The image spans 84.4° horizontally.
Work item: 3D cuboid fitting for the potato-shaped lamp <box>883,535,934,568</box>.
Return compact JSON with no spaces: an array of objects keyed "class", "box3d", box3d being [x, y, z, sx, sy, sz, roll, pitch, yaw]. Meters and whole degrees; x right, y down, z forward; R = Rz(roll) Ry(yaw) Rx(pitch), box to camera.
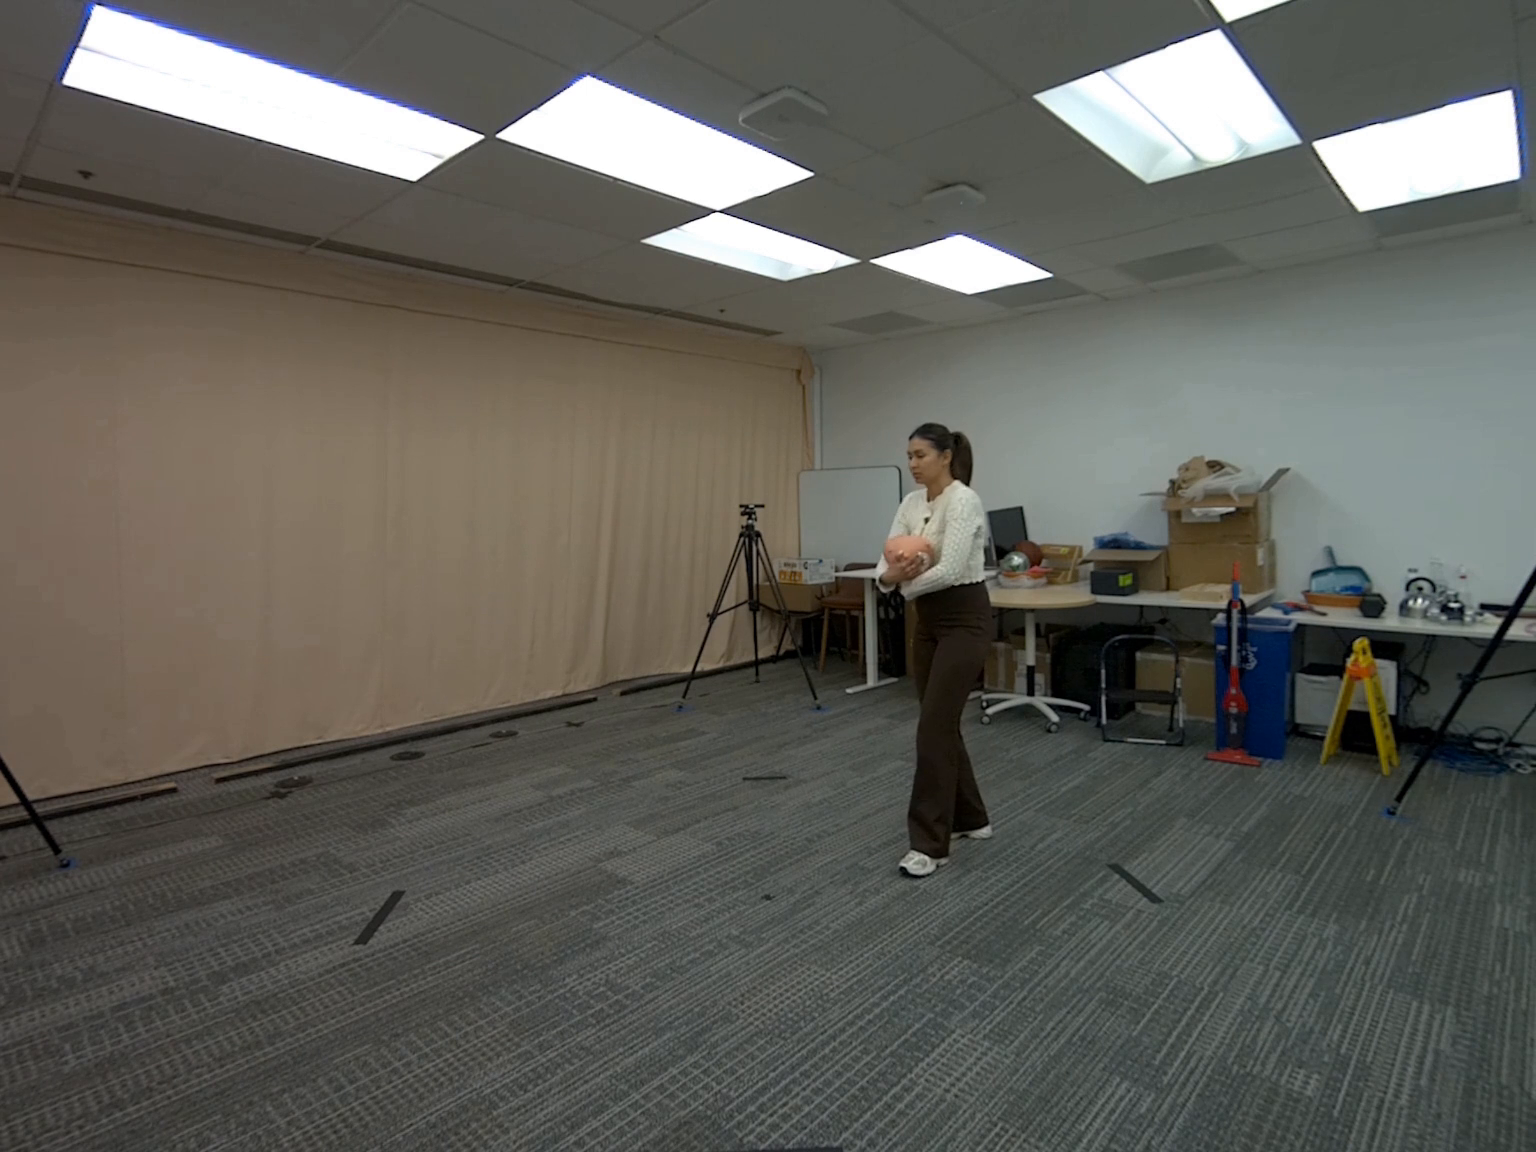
[{"class":"potato-shaped lamp","box3d":[0.554,-0.088,3.296,0.163,0.167,0.204,-26,34,-10]}]
